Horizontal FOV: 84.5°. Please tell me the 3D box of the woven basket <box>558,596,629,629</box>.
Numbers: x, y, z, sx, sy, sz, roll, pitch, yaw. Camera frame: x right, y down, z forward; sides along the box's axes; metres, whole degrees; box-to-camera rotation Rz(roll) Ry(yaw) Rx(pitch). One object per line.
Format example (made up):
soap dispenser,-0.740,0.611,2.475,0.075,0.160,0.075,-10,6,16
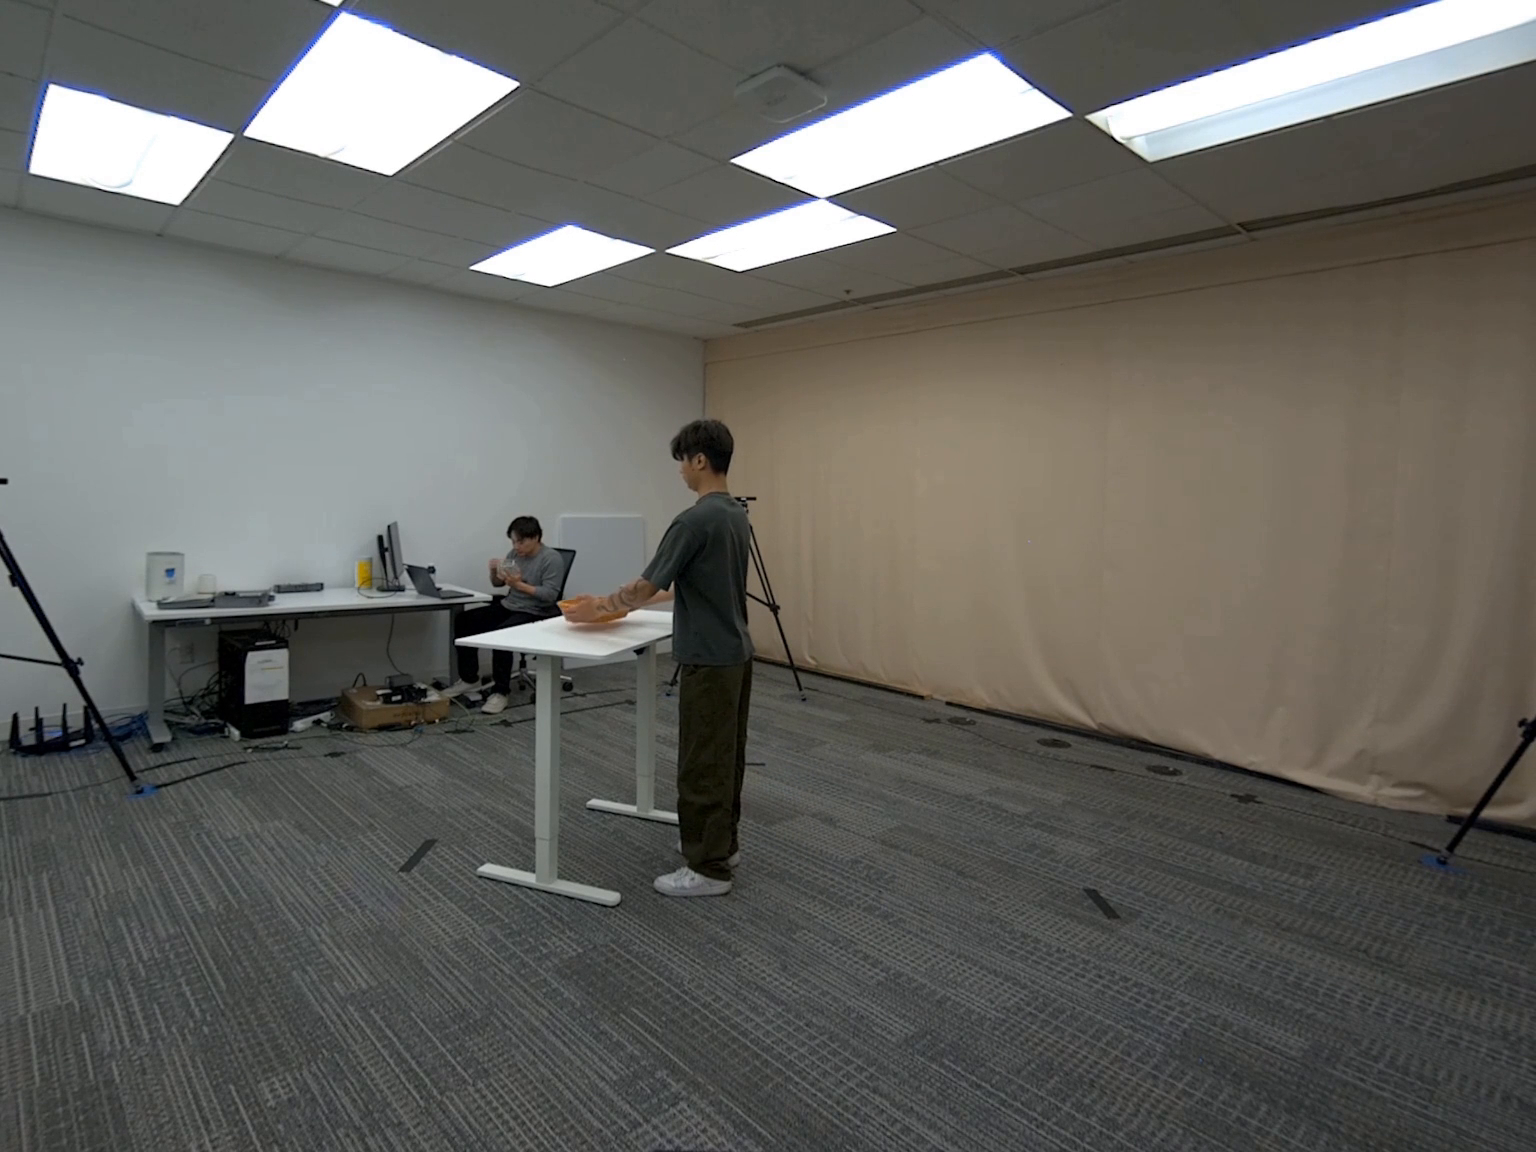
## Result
woven basket,-0.651,0.130,3.275,0.258,0.073,0.344,2,5,30
